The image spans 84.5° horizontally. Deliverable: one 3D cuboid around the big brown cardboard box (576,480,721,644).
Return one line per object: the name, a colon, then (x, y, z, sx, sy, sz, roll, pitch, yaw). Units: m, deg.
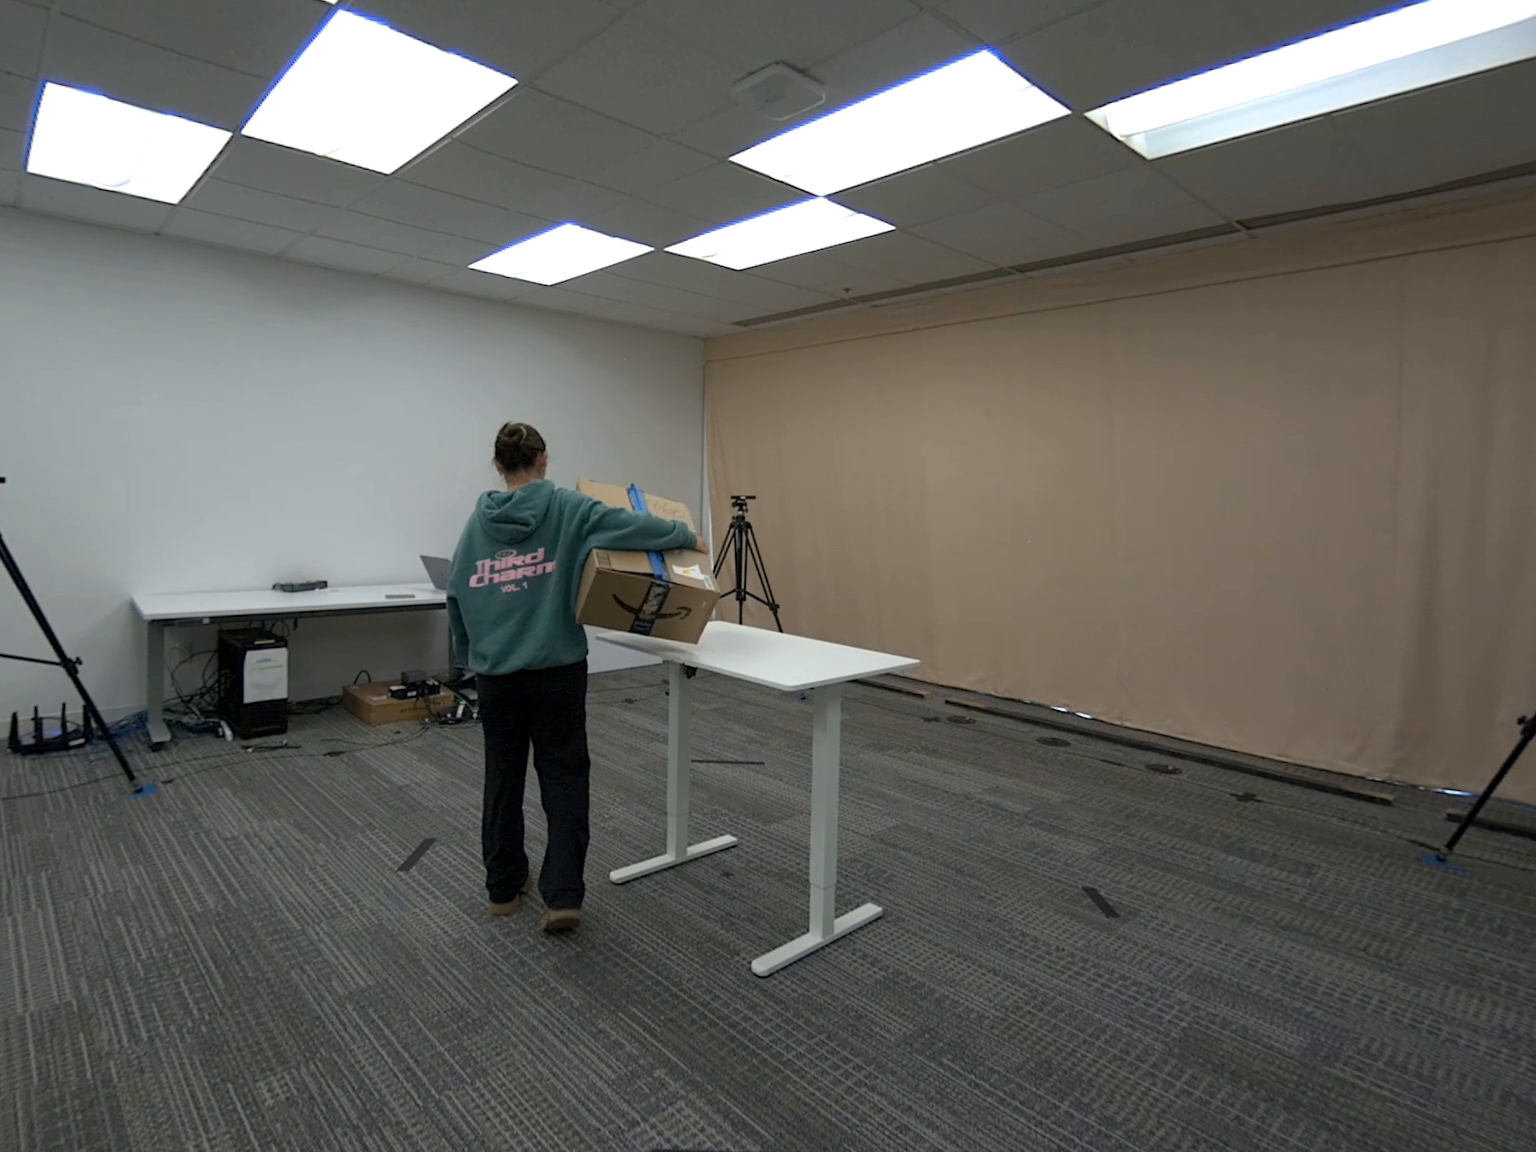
big brown cardboard box: (-0.447, -0.052, 2.840, 0.409, 0.231, 0.606, 12, 29, -26)
